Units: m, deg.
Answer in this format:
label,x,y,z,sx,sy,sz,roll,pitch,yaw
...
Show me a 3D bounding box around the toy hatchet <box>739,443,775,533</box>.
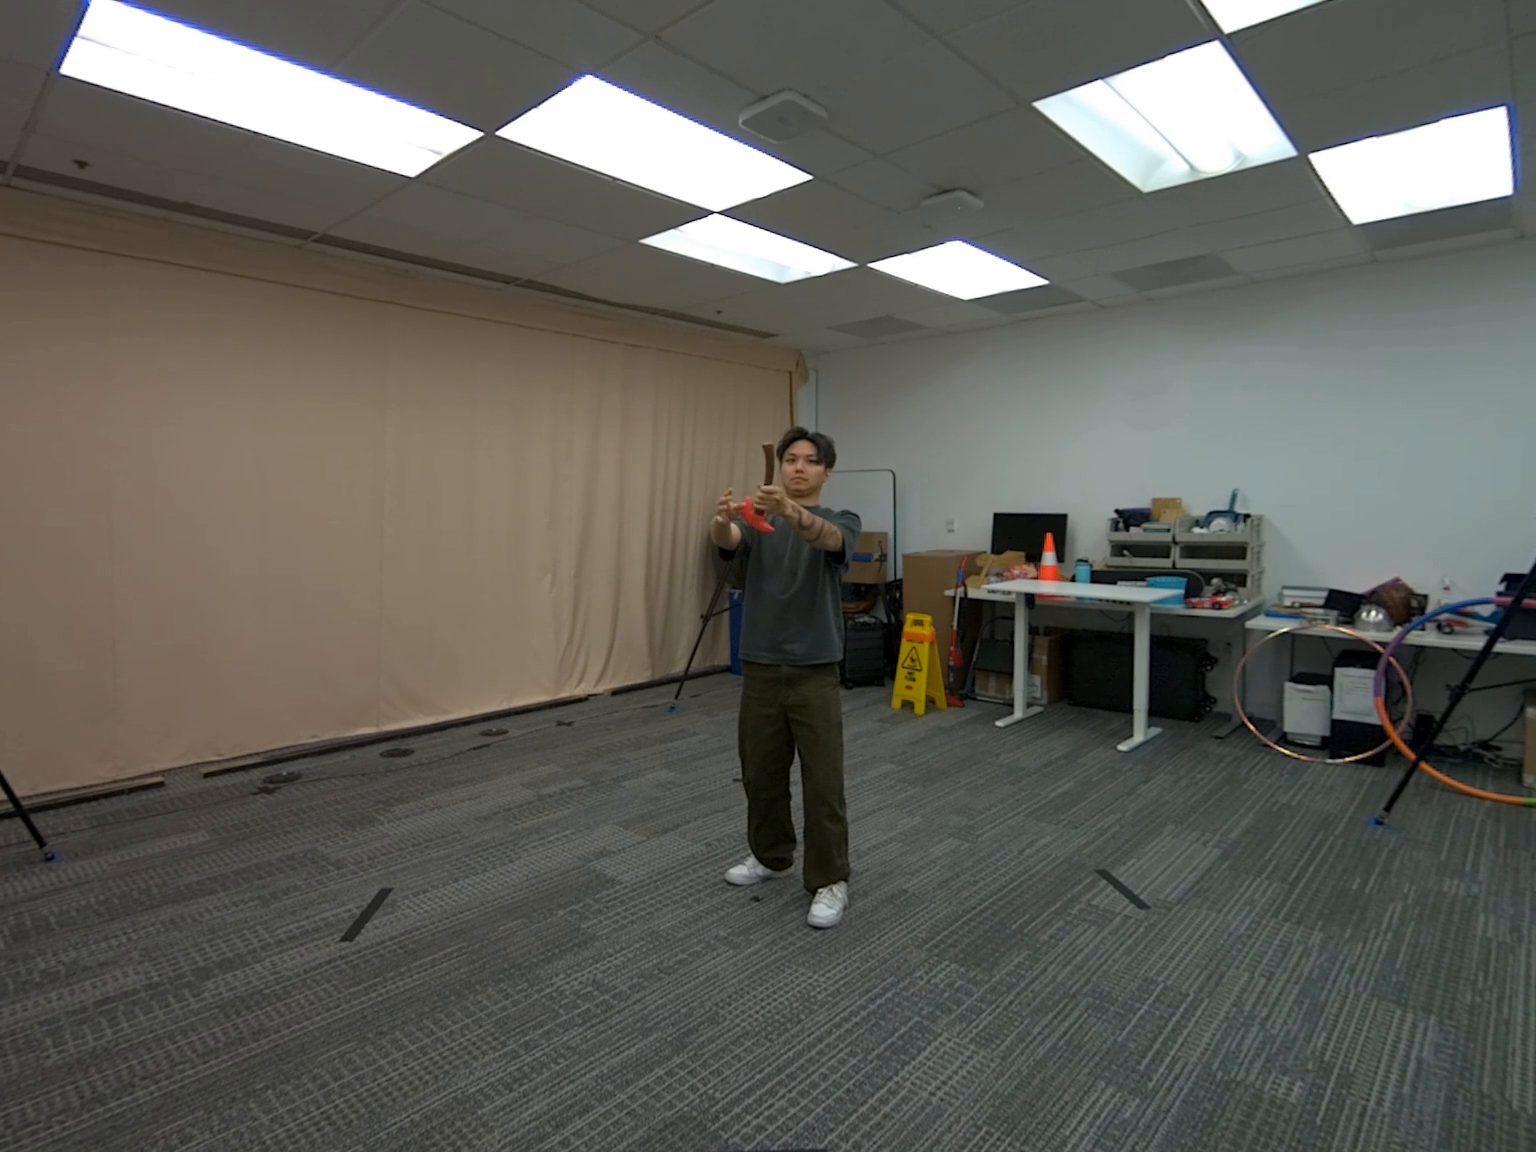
label,x,y,z,sx,sy,sz,roll,pitch,yaw
toy hatchet,-0.034,-0.268,2.502,0.135,0.267,0.029,11,24,36
